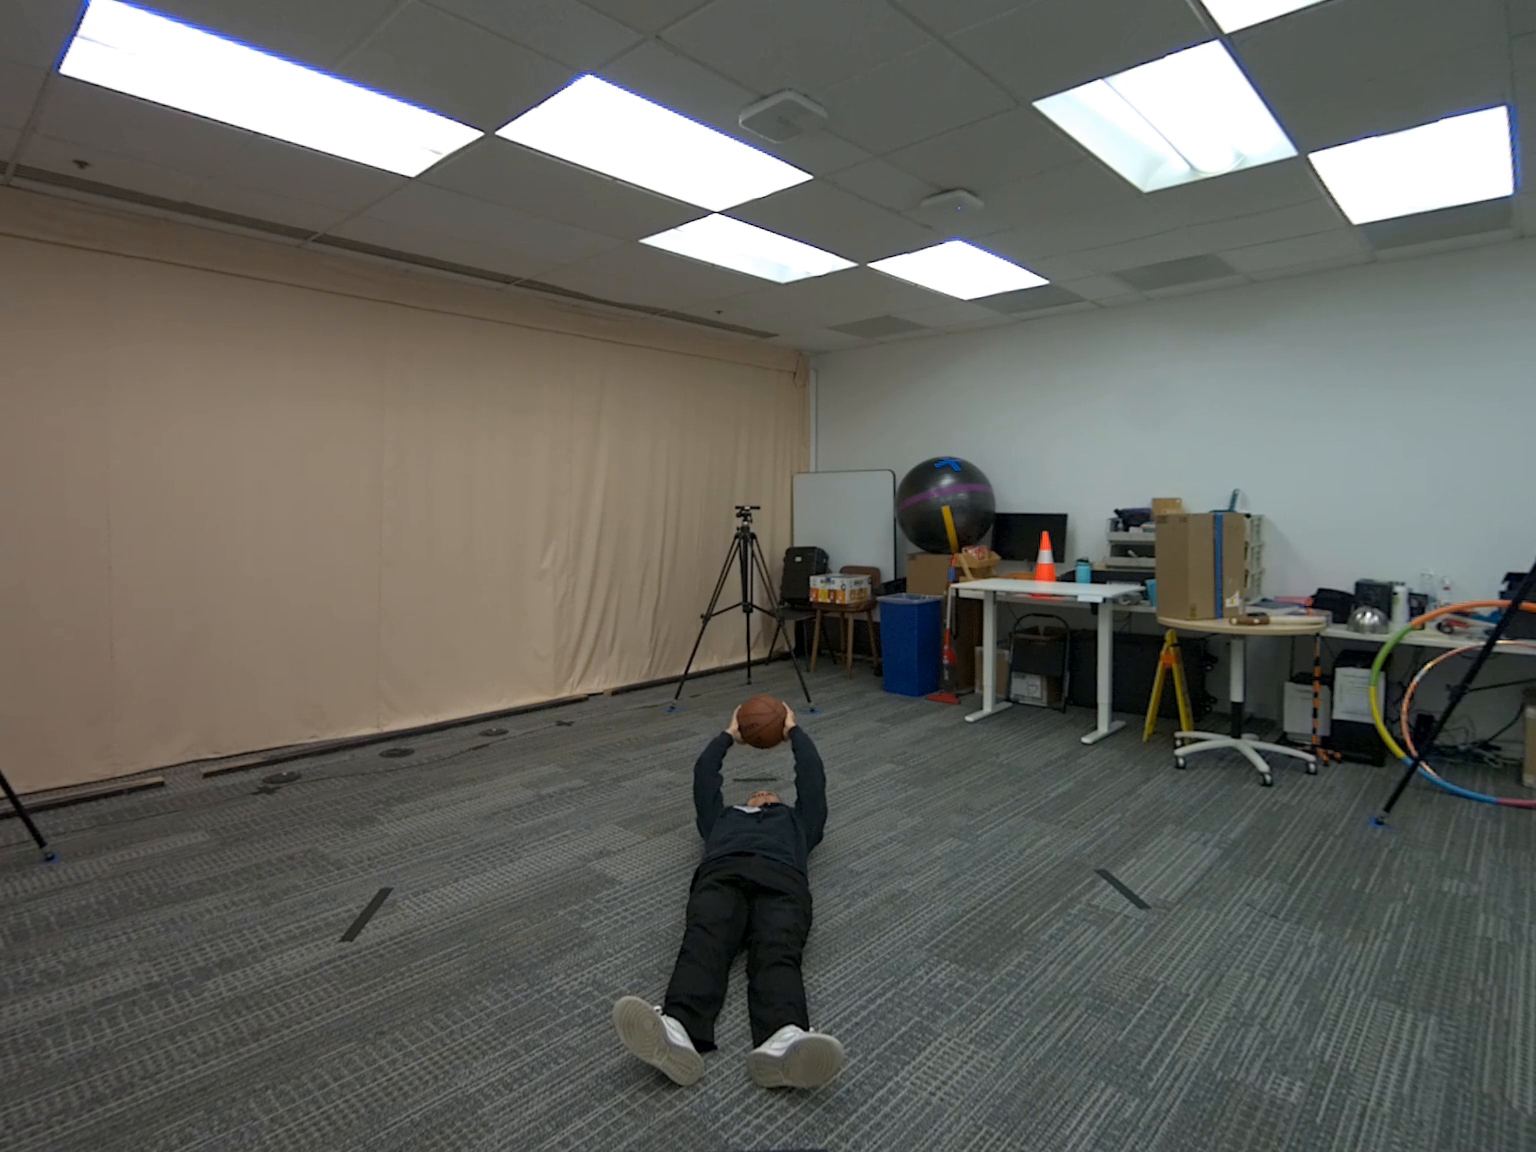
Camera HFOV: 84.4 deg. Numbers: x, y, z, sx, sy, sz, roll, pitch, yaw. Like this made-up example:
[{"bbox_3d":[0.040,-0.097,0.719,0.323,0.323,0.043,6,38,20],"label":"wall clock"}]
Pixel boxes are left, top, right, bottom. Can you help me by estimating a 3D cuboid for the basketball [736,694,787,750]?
[{"bbox_3d":[-0.016,0.648,3.749,0.236,0.235,0.237,0,4,-2],"label":"basketball"}]
